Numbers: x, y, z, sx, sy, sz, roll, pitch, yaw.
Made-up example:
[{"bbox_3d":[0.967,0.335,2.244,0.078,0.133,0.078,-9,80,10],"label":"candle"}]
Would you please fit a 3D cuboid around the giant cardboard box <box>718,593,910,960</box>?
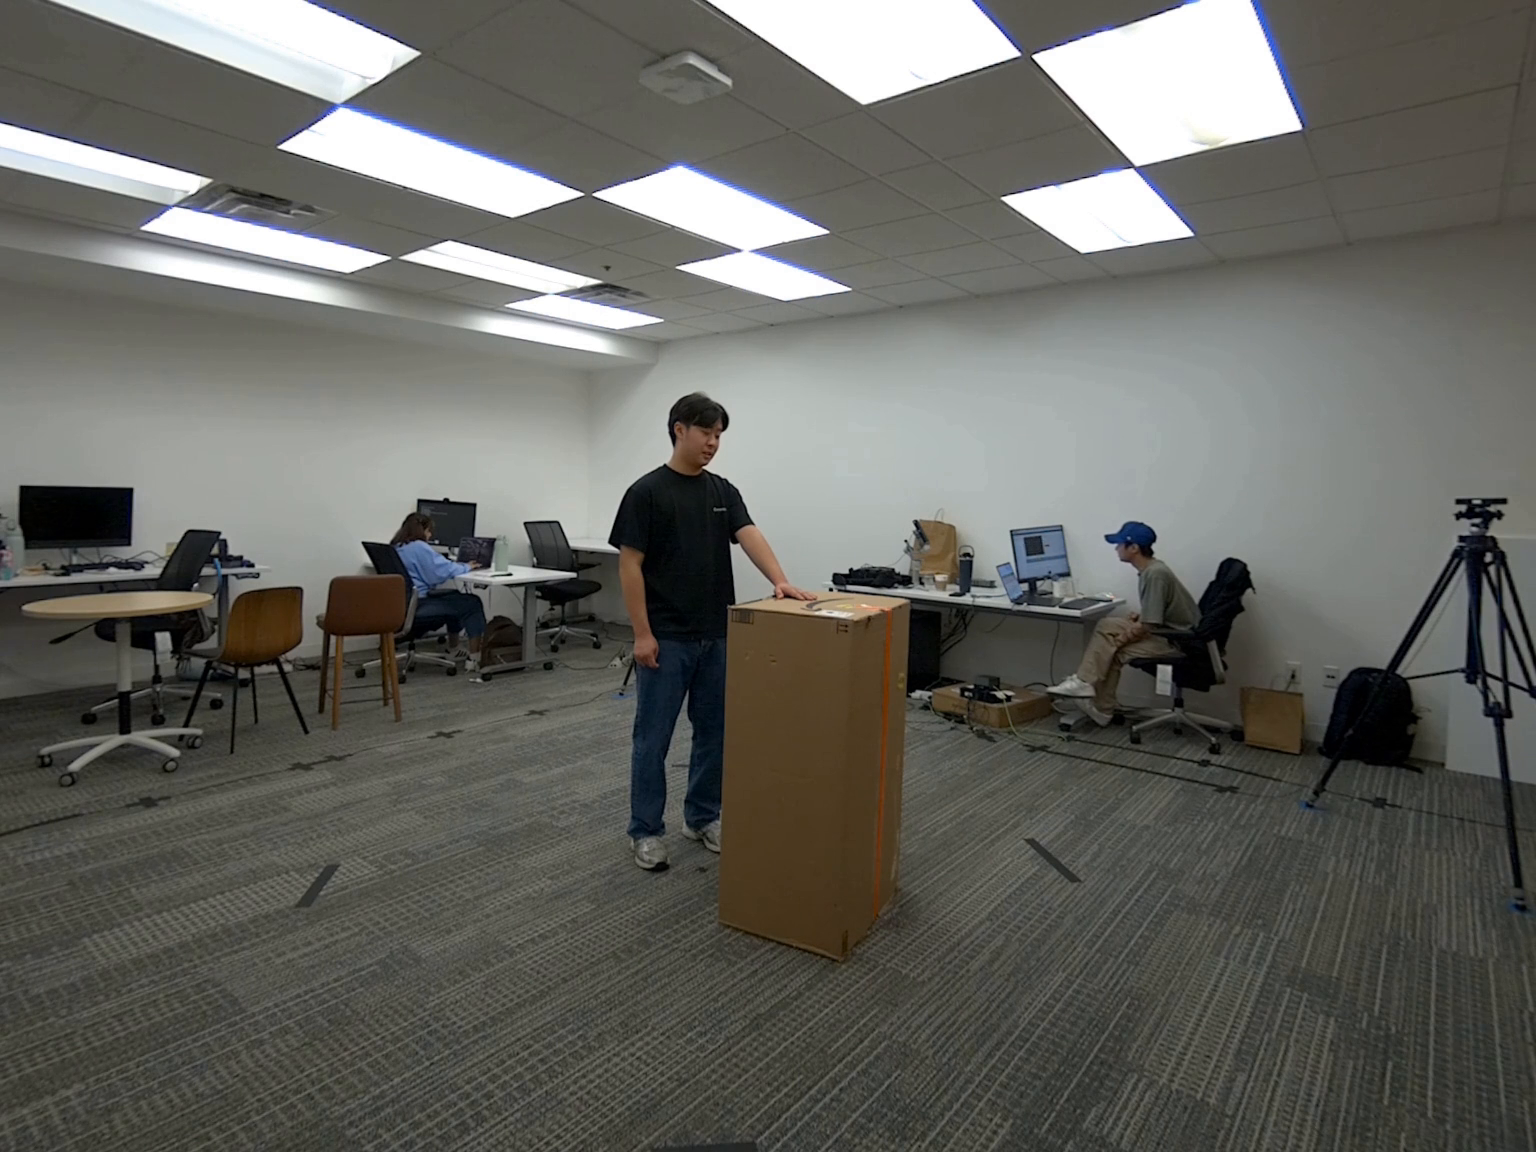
[{"bbox_3d":[0.163,0.591,2.834,0.460,1.024,0.569,4,4,28],"label":"giant cardboard box"}]
